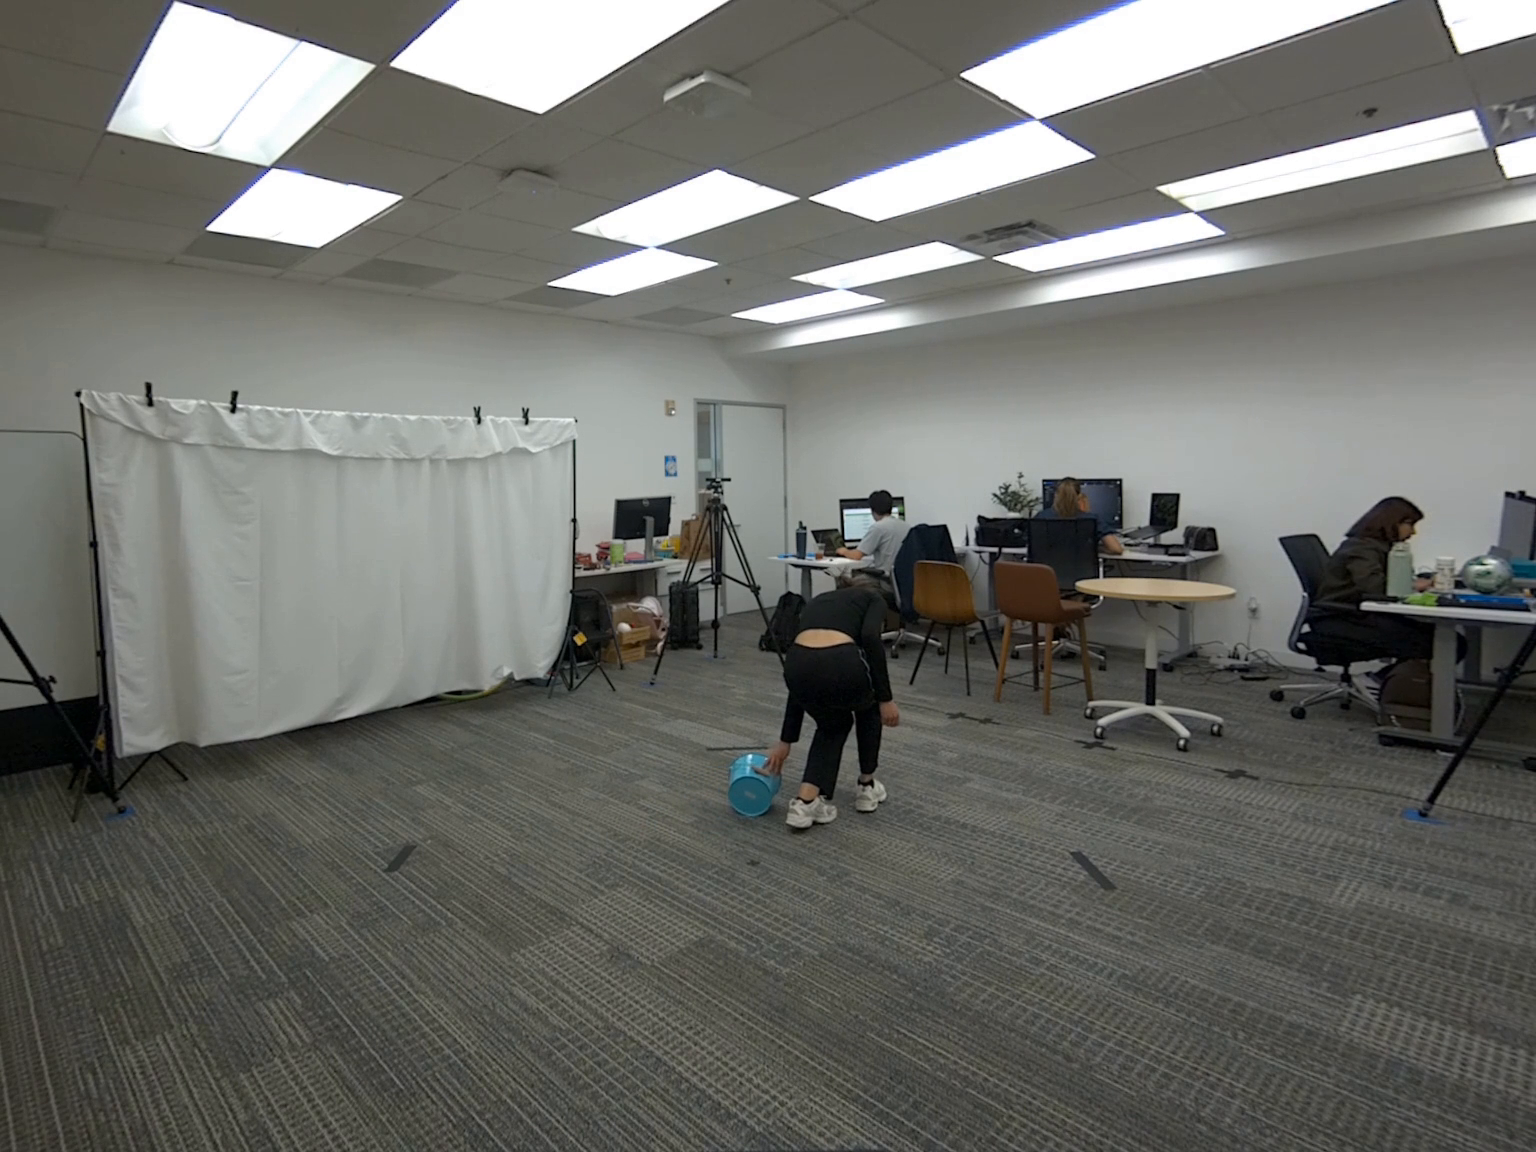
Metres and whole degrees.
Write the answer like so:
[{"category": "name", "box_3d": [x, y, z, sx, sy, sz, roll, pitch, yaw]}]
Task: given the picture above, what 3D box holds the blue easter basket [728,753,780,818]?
[{"category": "blue easter basket", "box_3d": [-0.067, 0.881, 3.607, 0.246, 0.241, 0.156, 0, 12, 11]}]
